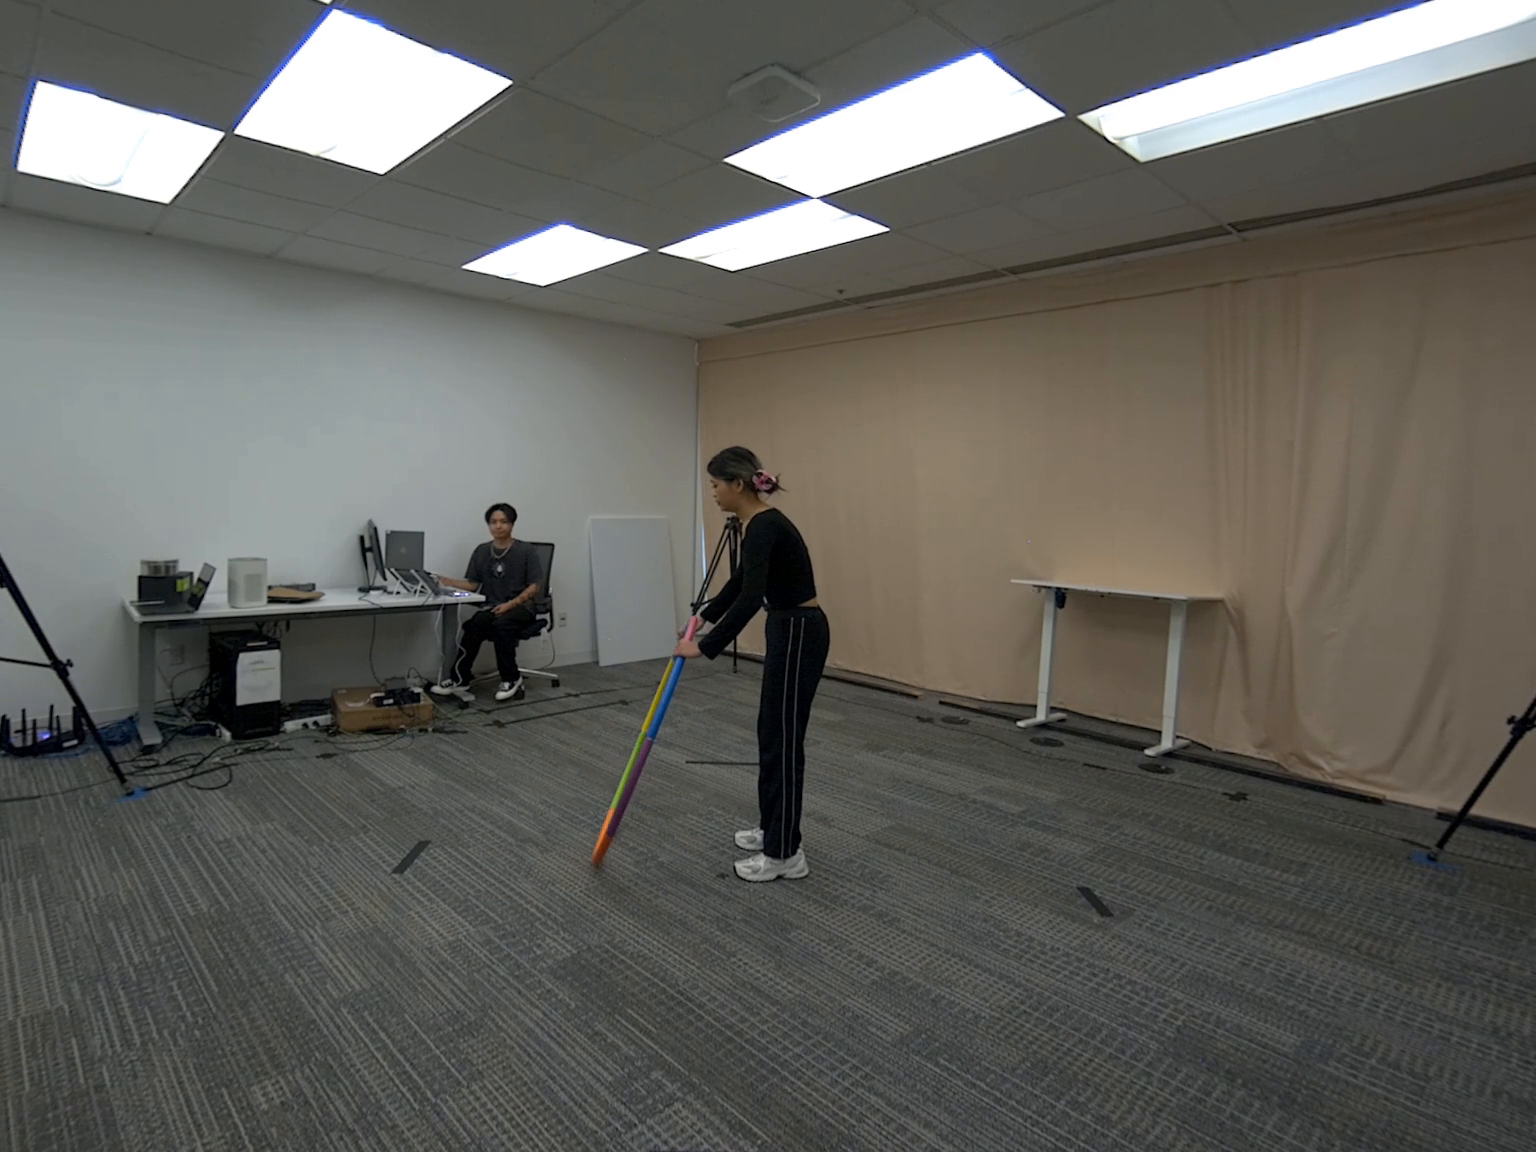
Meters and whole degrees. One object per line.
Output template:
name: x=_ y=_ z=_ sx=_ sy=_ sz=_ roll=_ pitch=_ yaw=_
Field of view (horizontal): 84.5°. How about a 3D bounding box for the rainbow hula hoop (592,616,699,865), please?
rainbow hula hoop: x=-0.471 y=0.632 z=3.264 sx=0.035 sy=0.977 sz=0.982 roll=23 pitch=3 yaw=-5
